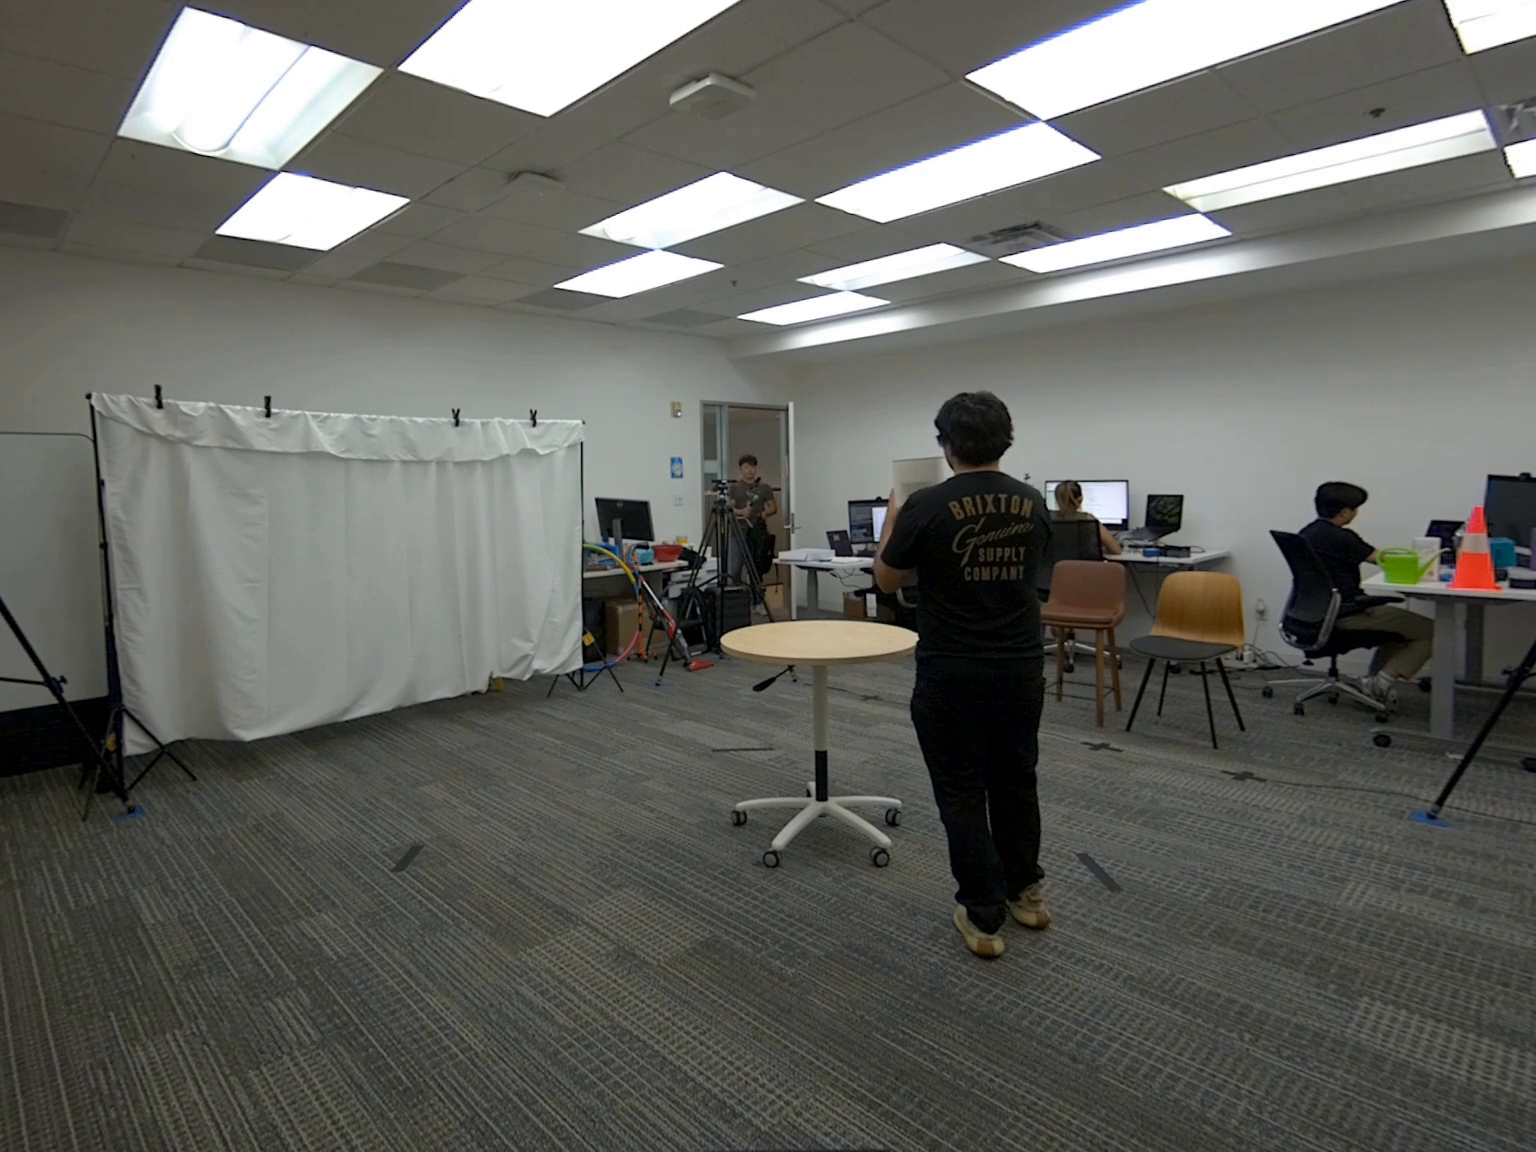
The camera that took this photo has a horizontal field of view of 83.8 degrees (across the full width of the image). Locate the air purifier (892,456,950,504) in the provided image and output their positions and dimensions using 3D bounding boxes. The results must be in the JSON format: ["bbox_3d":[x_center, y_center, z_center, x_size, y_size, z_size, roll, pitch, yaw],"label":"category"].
[{"bbox_3d":[0.534,-0.266,2.857,0.175,0.264,0.169,-4,5,20],"label":"air purifier"}]
